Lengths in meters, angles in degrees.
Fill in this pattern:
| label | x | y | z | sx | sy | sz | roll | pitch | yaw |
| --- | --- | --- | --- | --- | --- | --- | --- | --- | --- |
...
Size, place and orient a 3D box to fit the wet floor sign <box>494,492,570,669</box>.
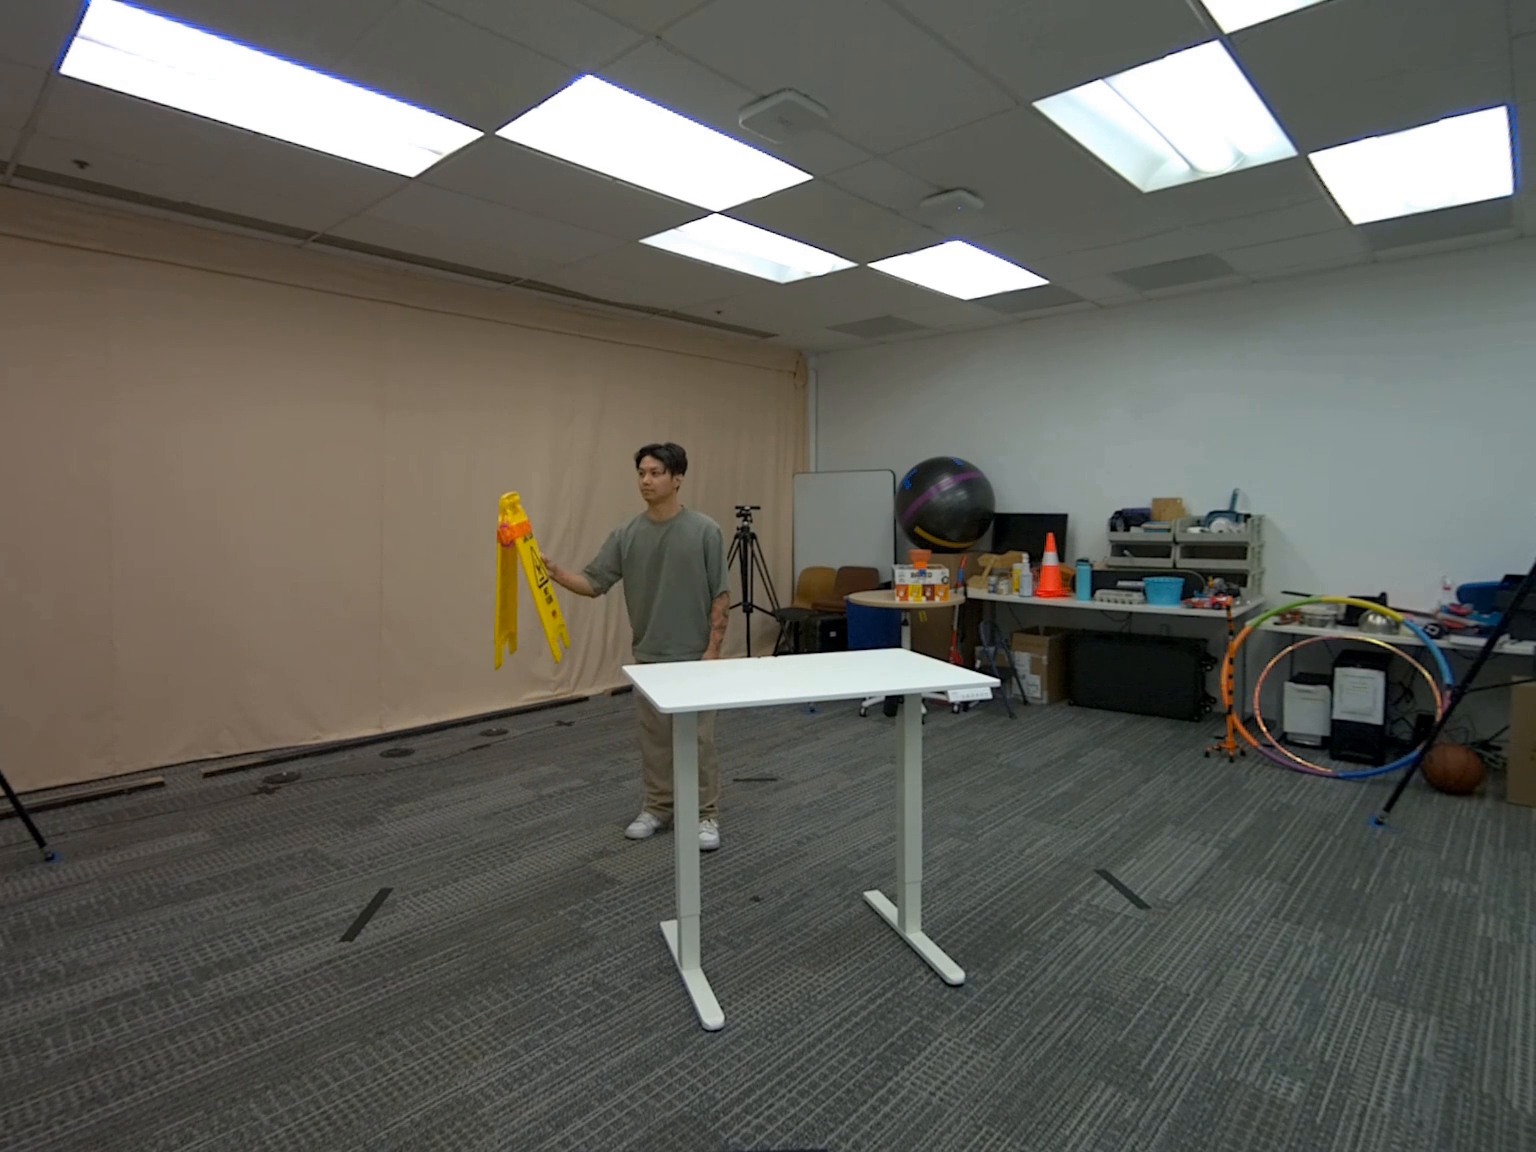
| label | x | y | z | sx | sy | sz | roll | pitch | yaw |
| --- | --- | --- | --- | --- | --- | --- | --- | --- | --- |
| wet floor sign | -0.967 | 0.006 | 3.278 | 0.290 | 0.642 | 0.284 | -6 | 8 | 0 |
